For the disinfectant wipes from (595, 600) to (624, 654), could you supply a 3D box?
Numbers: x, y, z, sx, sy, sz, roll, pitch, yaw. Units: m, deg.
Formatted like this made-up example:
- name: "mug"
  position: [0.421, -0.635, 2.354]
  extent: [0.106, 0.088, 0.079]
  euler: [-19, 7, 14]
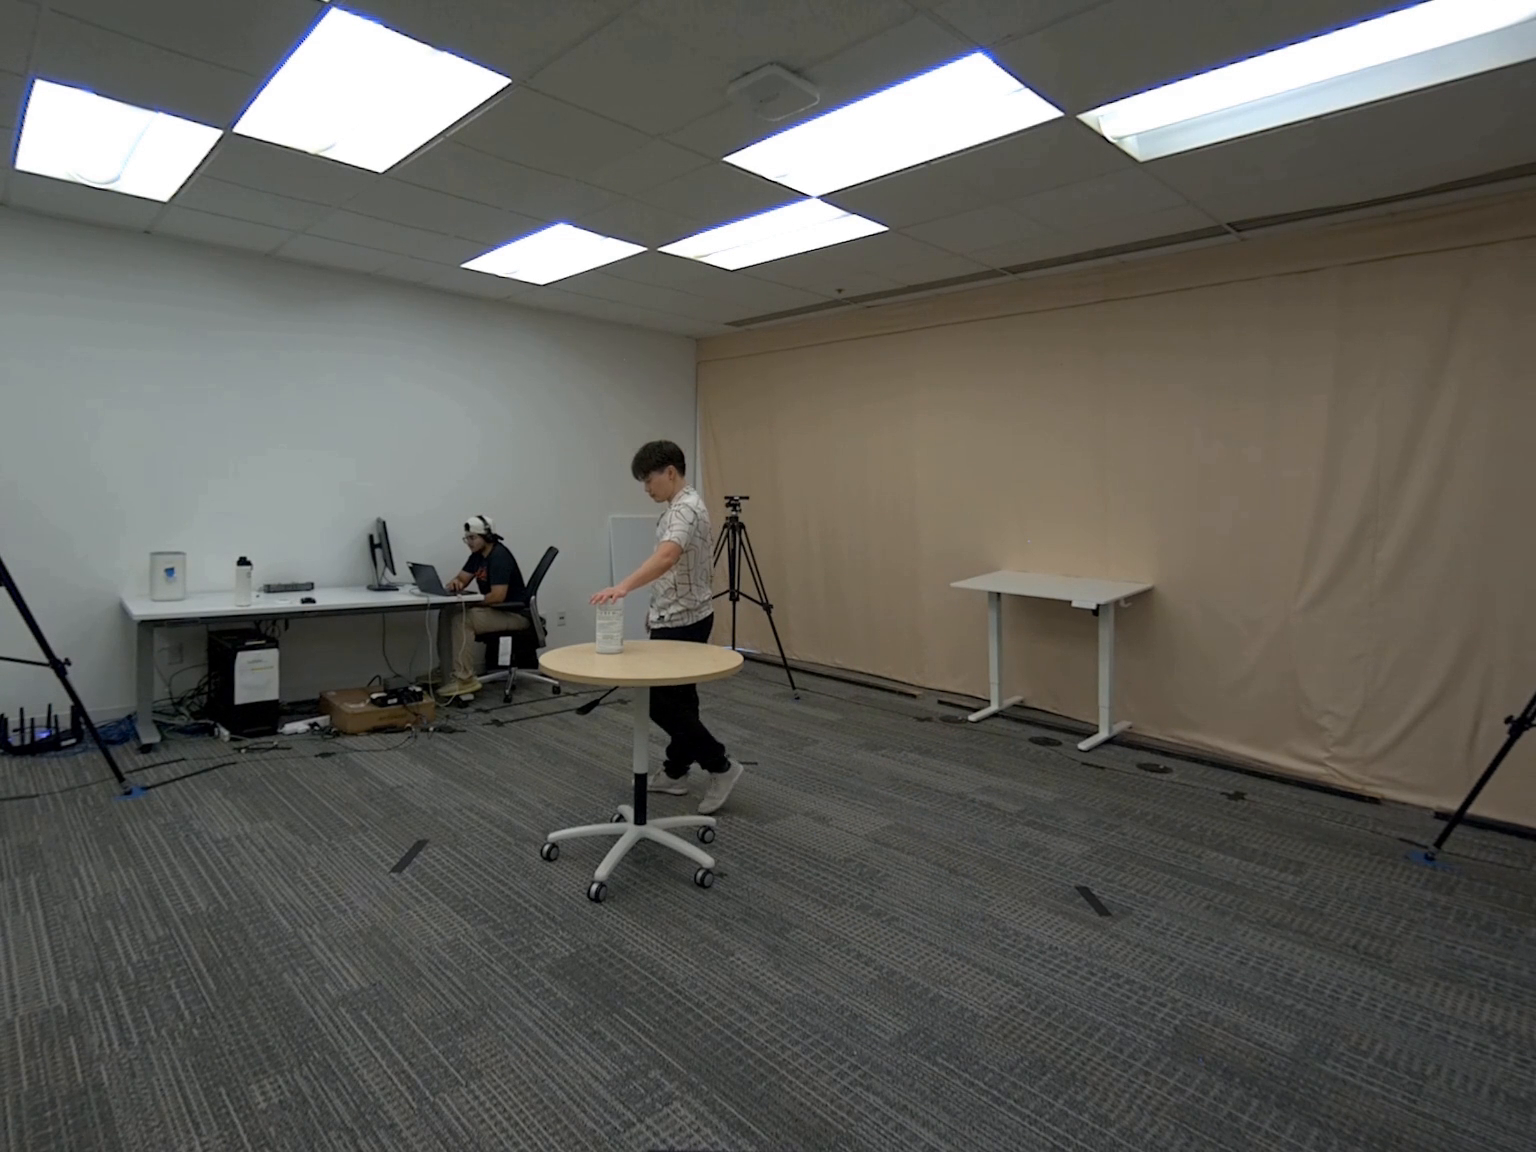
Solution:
- name: "disinfectant wipes"
  position: [-0.630, 0.194, 3.281]
  extent: [0.118, 0.217, 0.118]
  euler: [-2, 2, -1]
